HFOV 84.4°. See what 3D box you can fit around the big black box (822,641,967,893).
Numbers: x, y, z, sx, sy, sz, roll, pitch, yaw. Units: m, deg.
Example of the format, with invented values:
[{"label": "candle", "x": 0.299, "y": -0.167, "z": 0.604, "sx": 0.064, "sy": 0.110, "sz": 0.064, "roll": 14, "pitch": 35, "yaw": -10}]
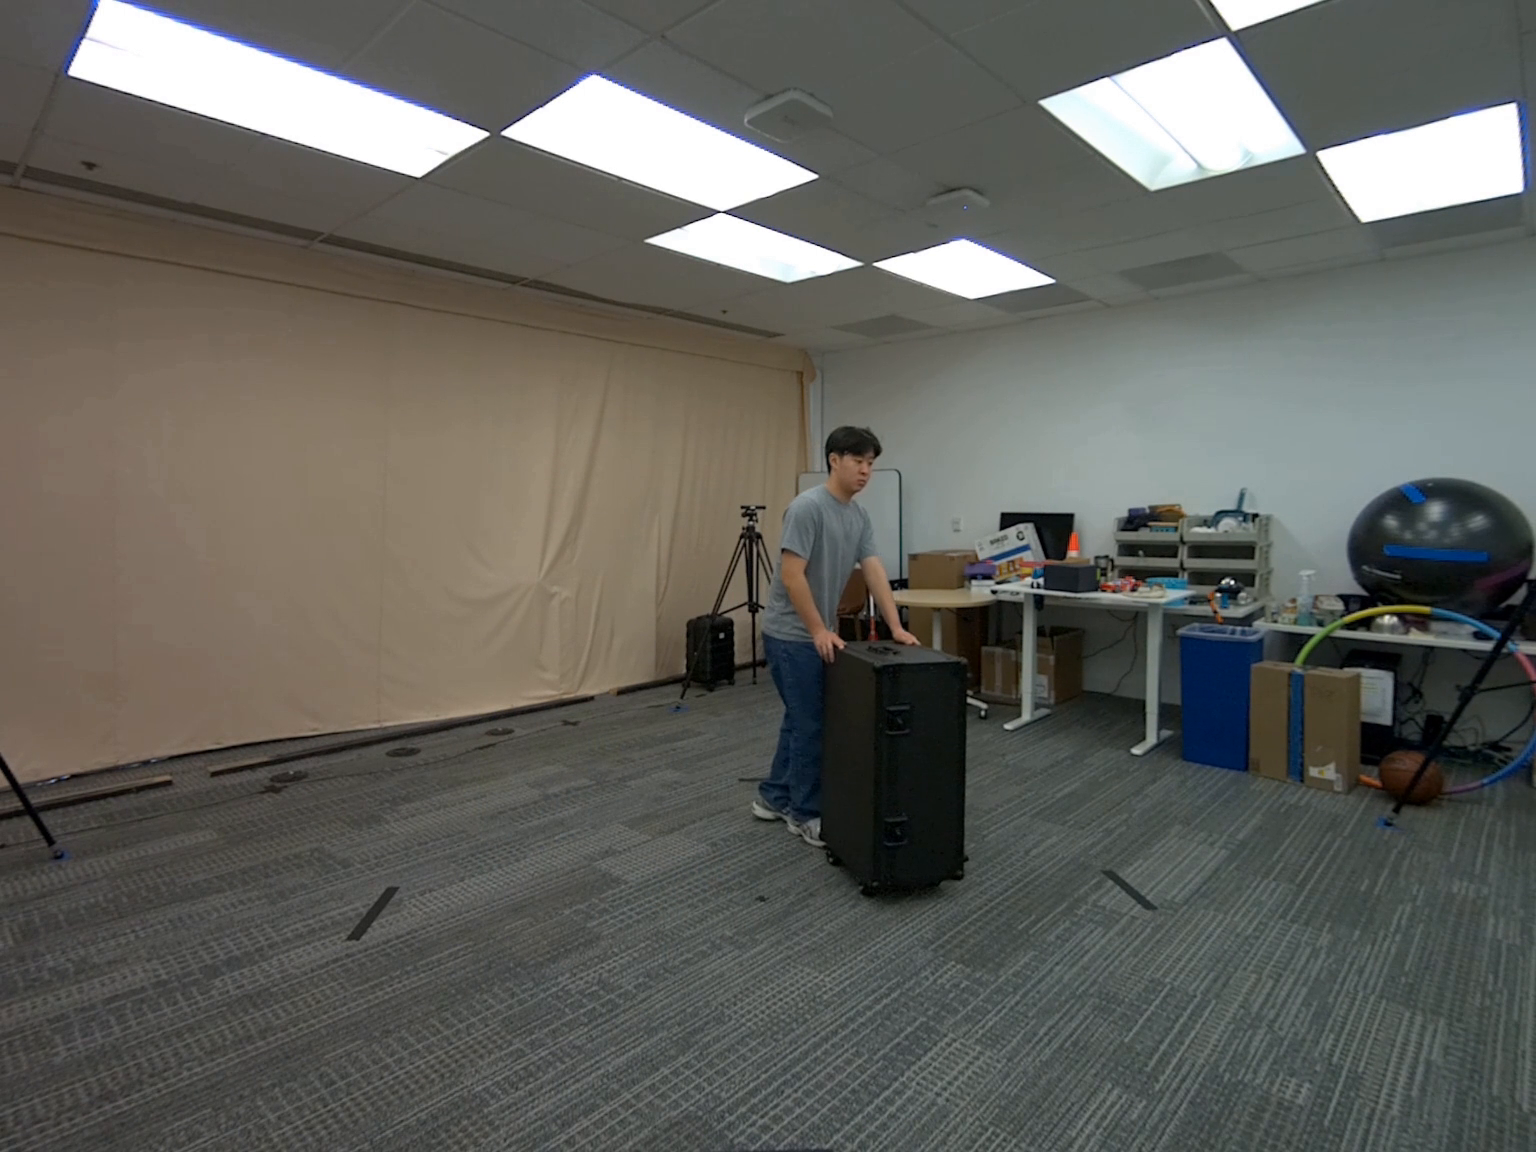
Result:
[{"label": "big black box", "x": 0.466, "y": 0.708, "z": 3.148, "sx": 0.389, "sy": 0.860, "sz": 0.532, "roll": 1, "pitch": 3, "yaw": -18}]
